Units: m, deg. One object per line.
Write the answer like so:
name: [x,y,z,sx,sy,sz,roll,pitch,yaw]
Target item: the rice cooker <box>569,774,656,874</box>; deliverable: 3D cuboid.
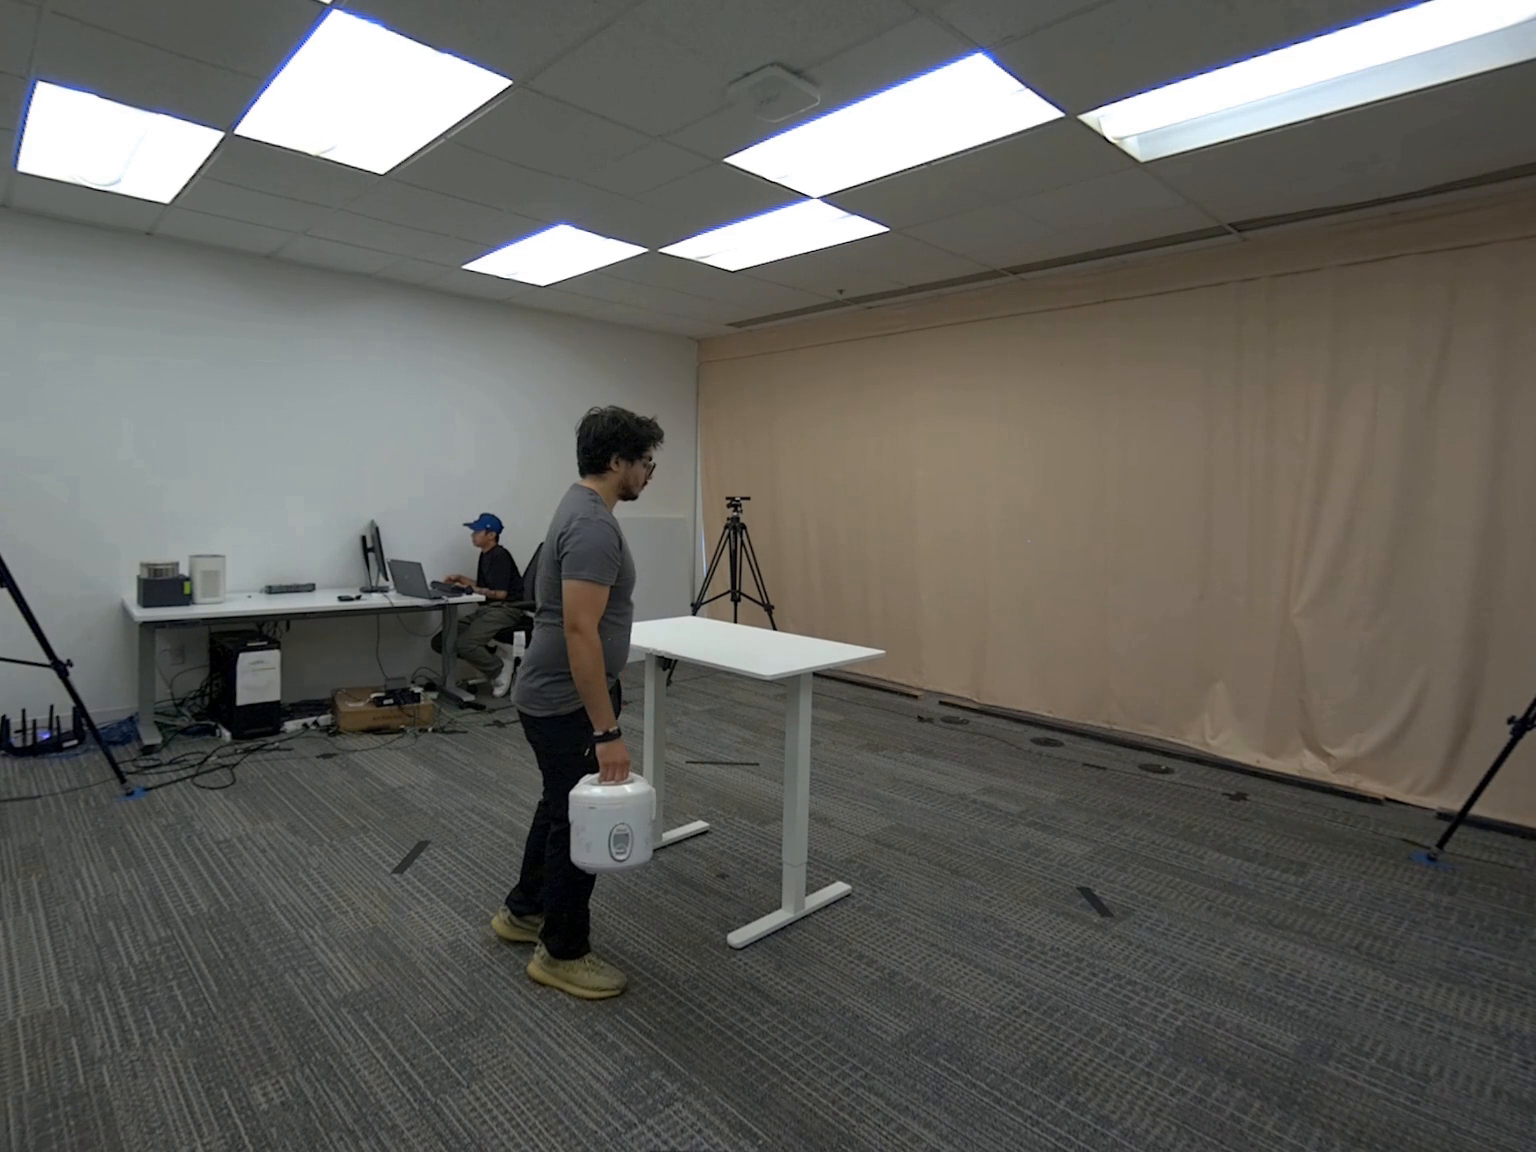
rice cooker: [-0.402,0.612,2.109,0.217,0.234,0.220,1,-5,-20]
